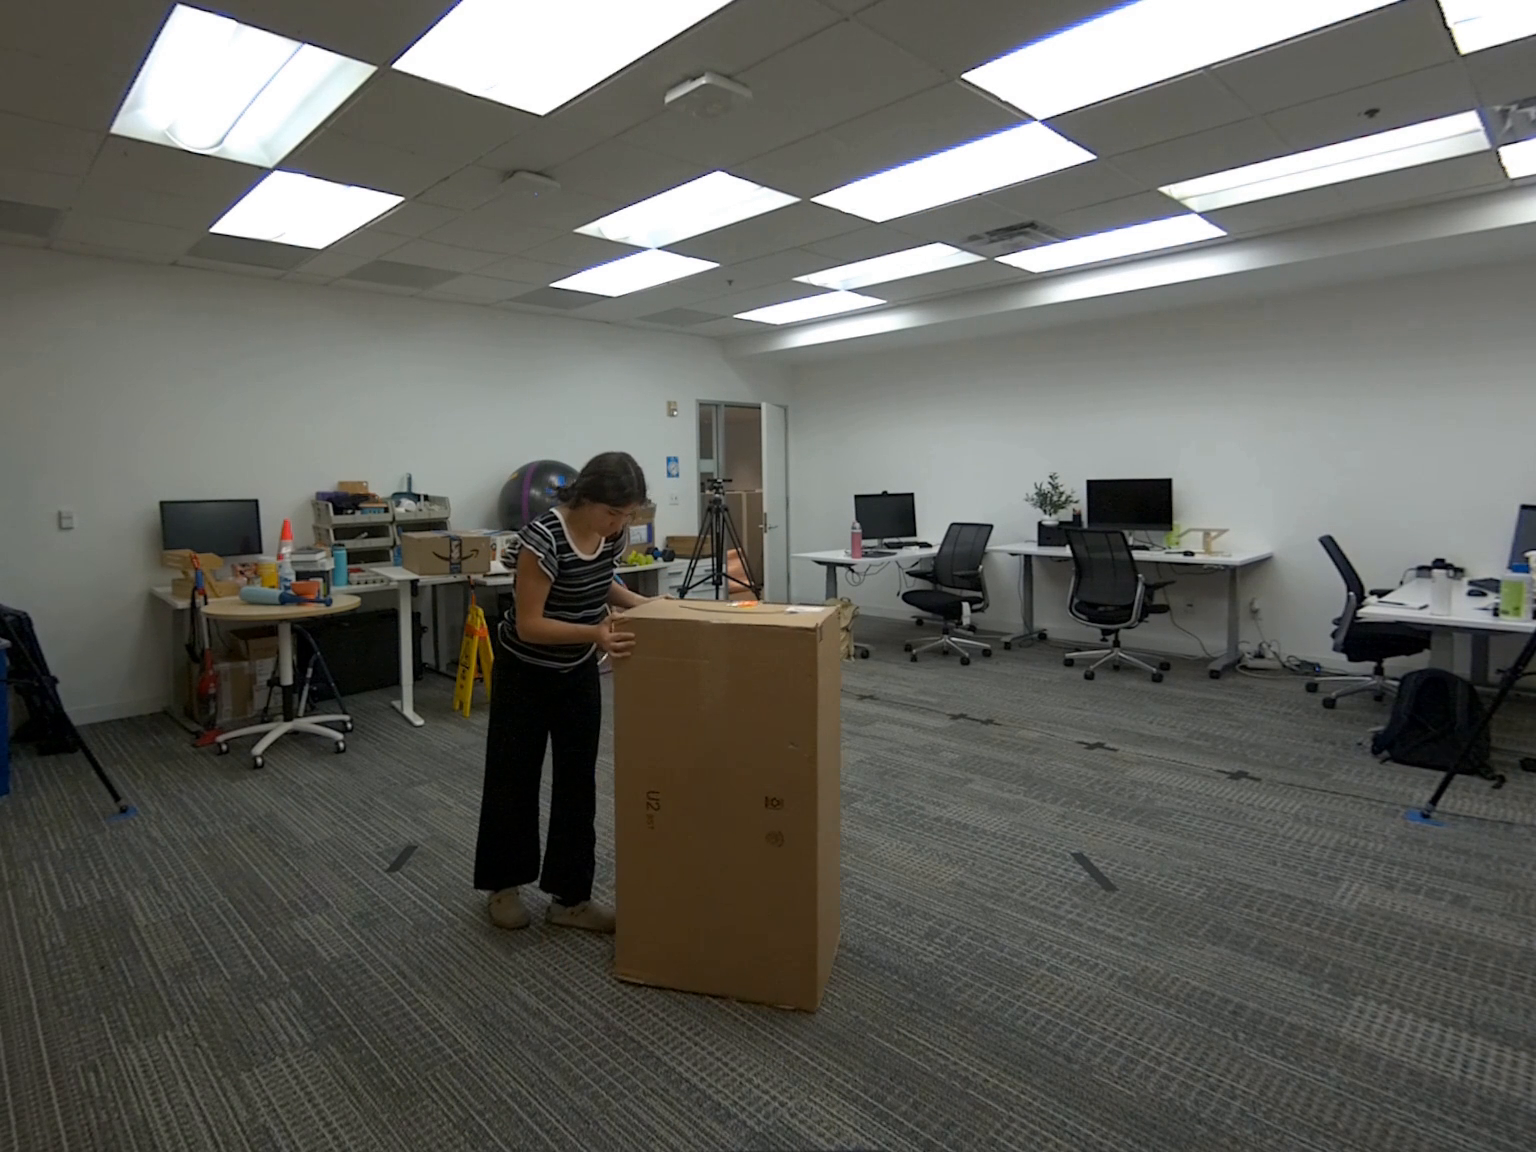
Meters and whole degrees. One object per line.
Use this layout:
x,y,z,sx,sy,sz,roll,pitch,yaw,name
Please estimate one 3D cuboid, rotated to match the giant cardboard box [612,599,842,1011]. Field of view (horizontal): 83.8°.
-0.103,0.613,2.486,0.587,1.022,0.421,2,4,15,giant cardboard box
